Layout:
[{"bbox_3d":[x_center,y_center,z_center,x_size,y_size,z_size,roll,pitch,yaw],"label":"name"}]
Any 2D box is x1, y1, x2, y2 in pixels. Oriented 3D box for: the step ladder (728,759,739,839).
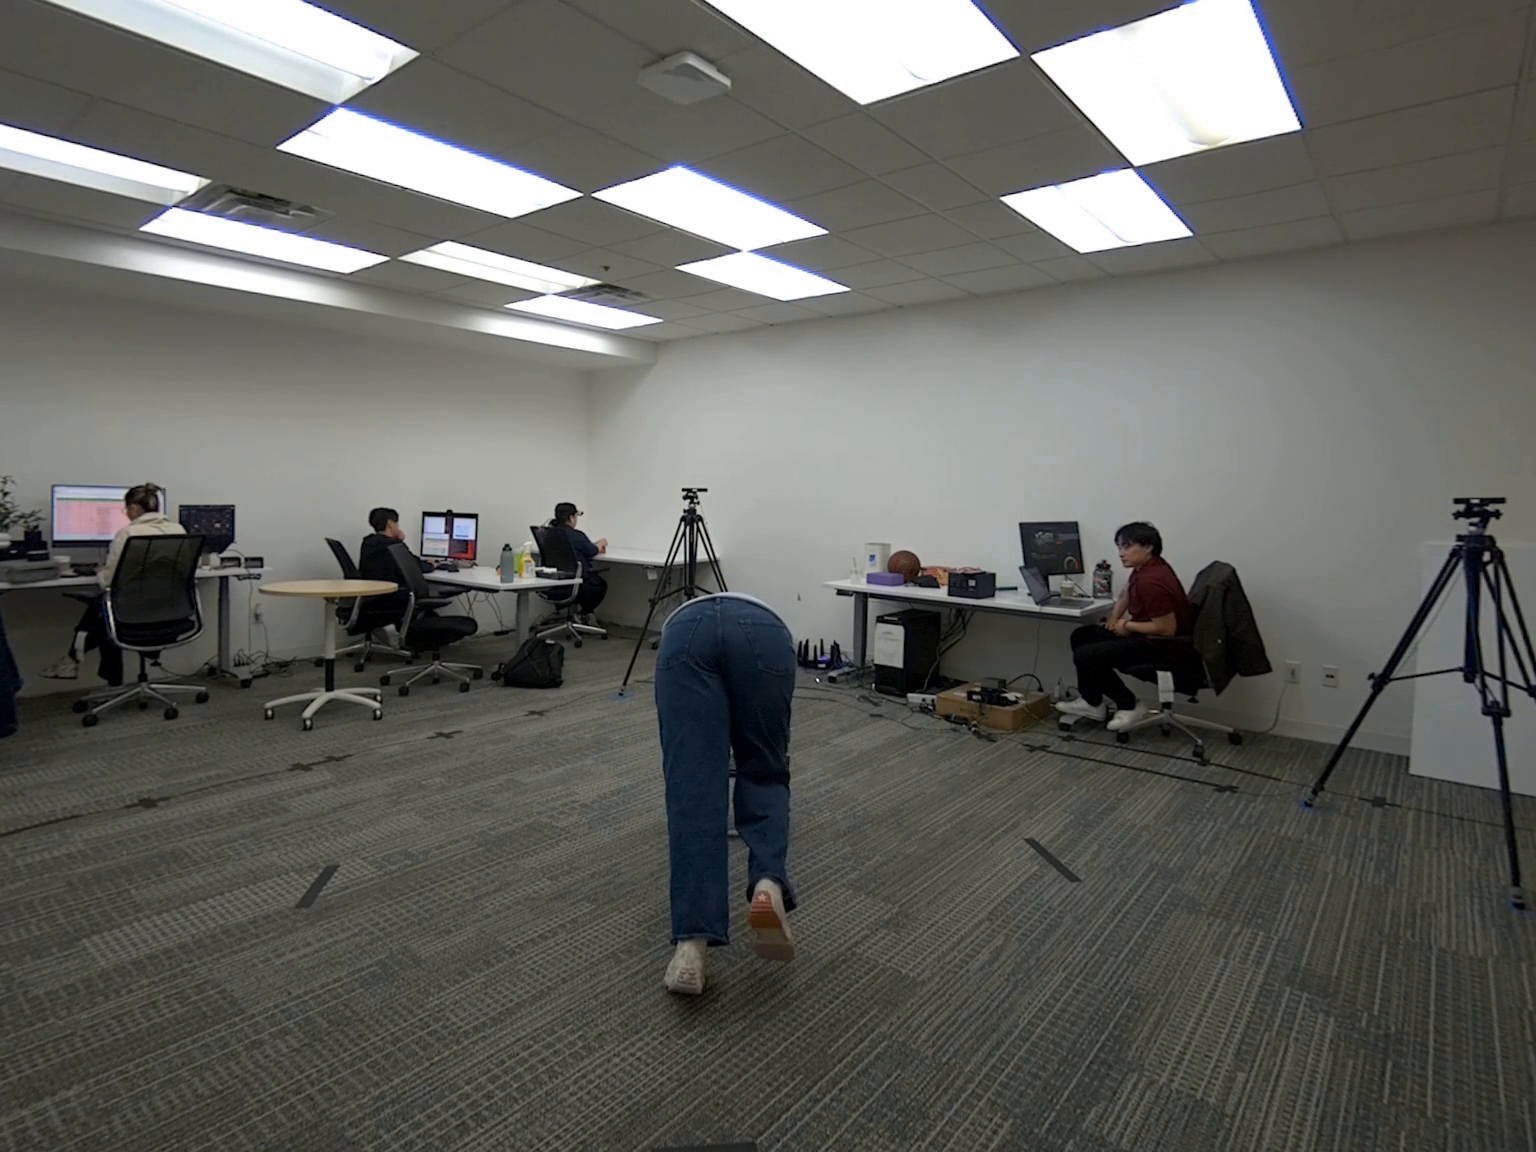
[{"bbox_3d":[-0.124,0.721,3.549,0.433,0.604,0.349,1,3,3],"label":"step ladder"}]
